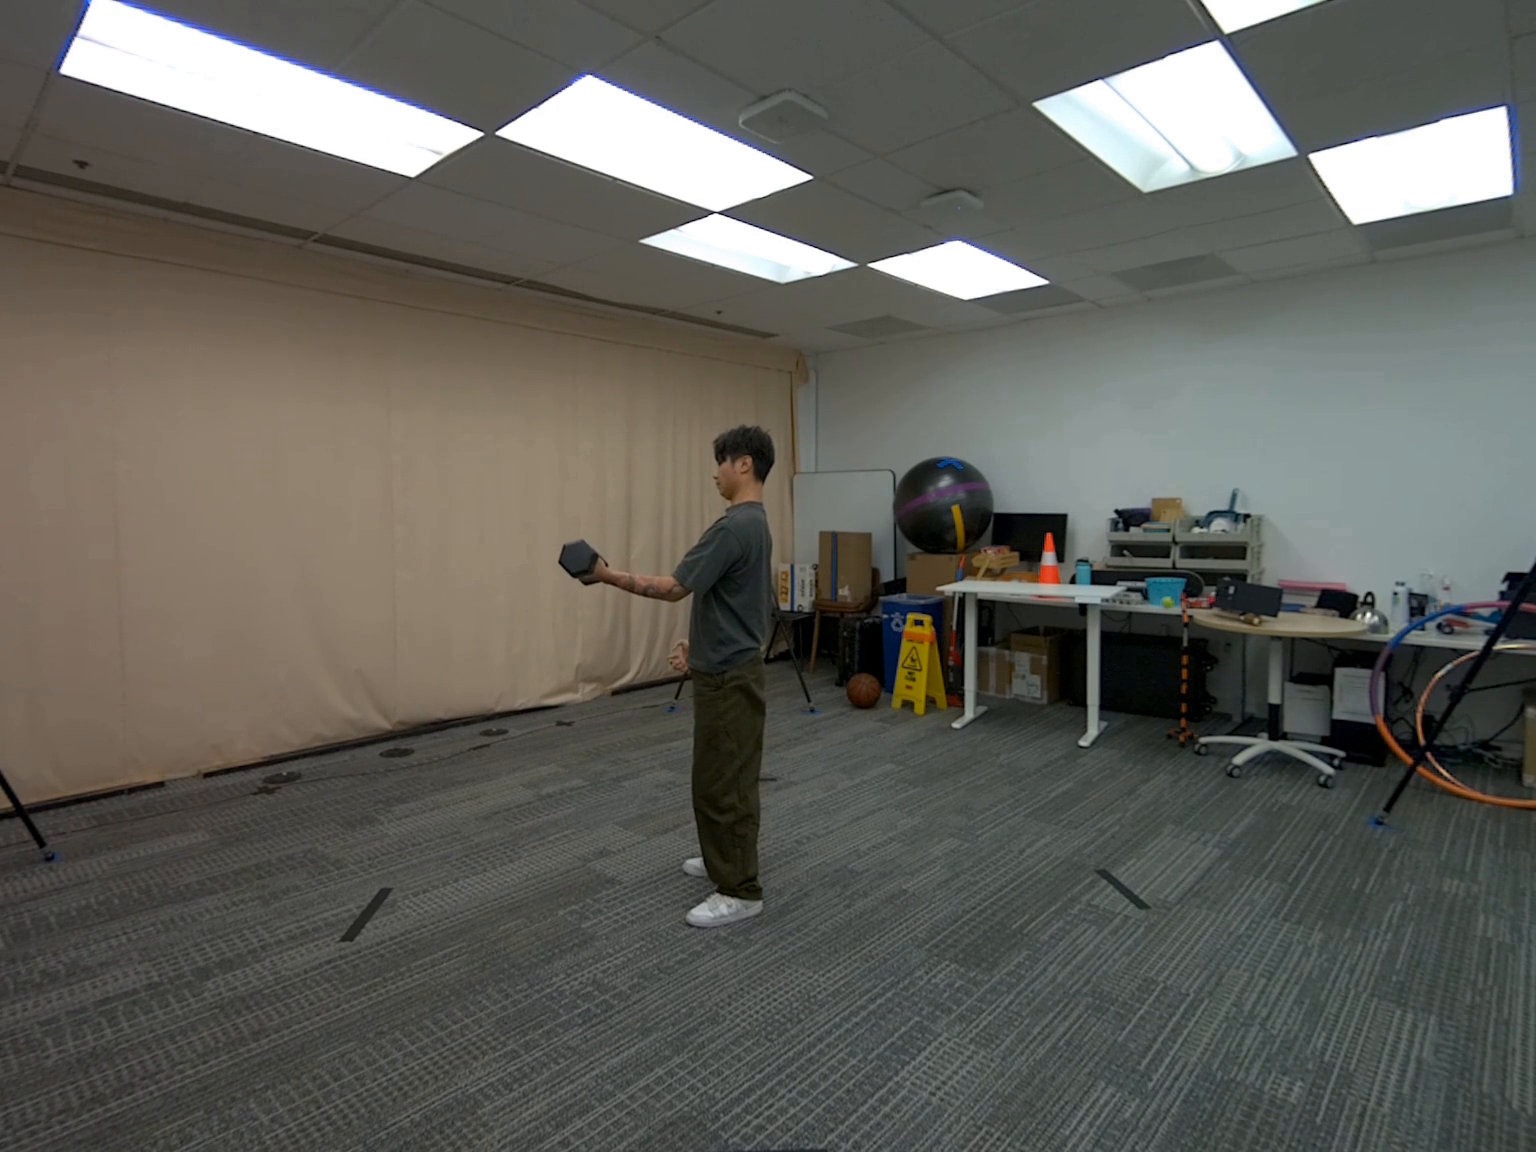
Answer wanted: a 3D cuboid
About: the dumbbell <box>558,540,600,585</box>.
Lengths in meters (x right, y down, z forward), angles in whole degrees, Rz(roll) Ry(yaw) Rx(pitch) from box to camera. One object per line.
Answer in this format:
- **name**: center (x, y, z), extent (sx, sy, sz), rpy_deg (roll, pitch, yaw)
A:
- **dumbbell**: center (-0.593, -0.047, 2.749), extent (0.109, 0.123, 0.293), rpy_deg (14, -9, -2)
